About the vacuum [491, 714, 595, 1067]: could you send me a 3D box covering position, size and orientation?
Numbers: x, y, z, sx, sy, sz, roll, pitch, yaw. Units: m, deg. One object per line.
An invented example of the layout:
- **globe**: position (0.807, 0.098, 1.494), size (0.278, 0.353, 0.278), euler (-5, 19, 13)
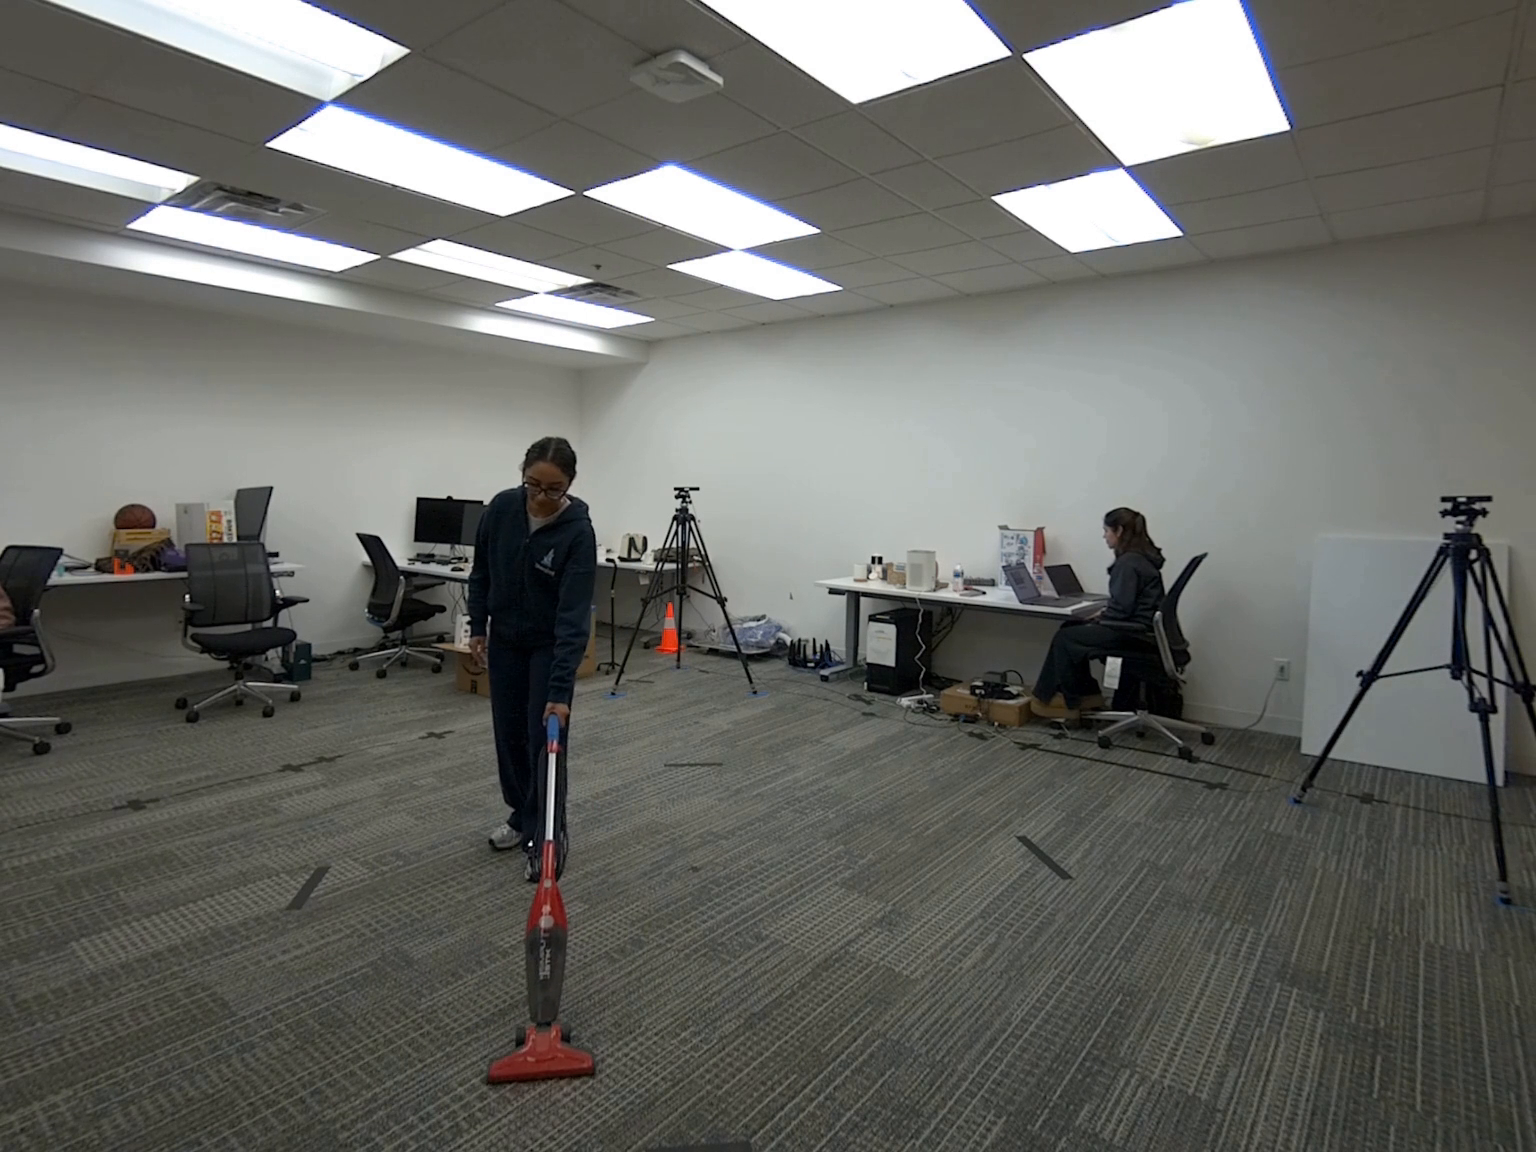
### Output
- **vacuum**: position (-0.634, 0.789, 2.459), size (0.249, 0.141, 1.086), euler (3, 41, -14)
